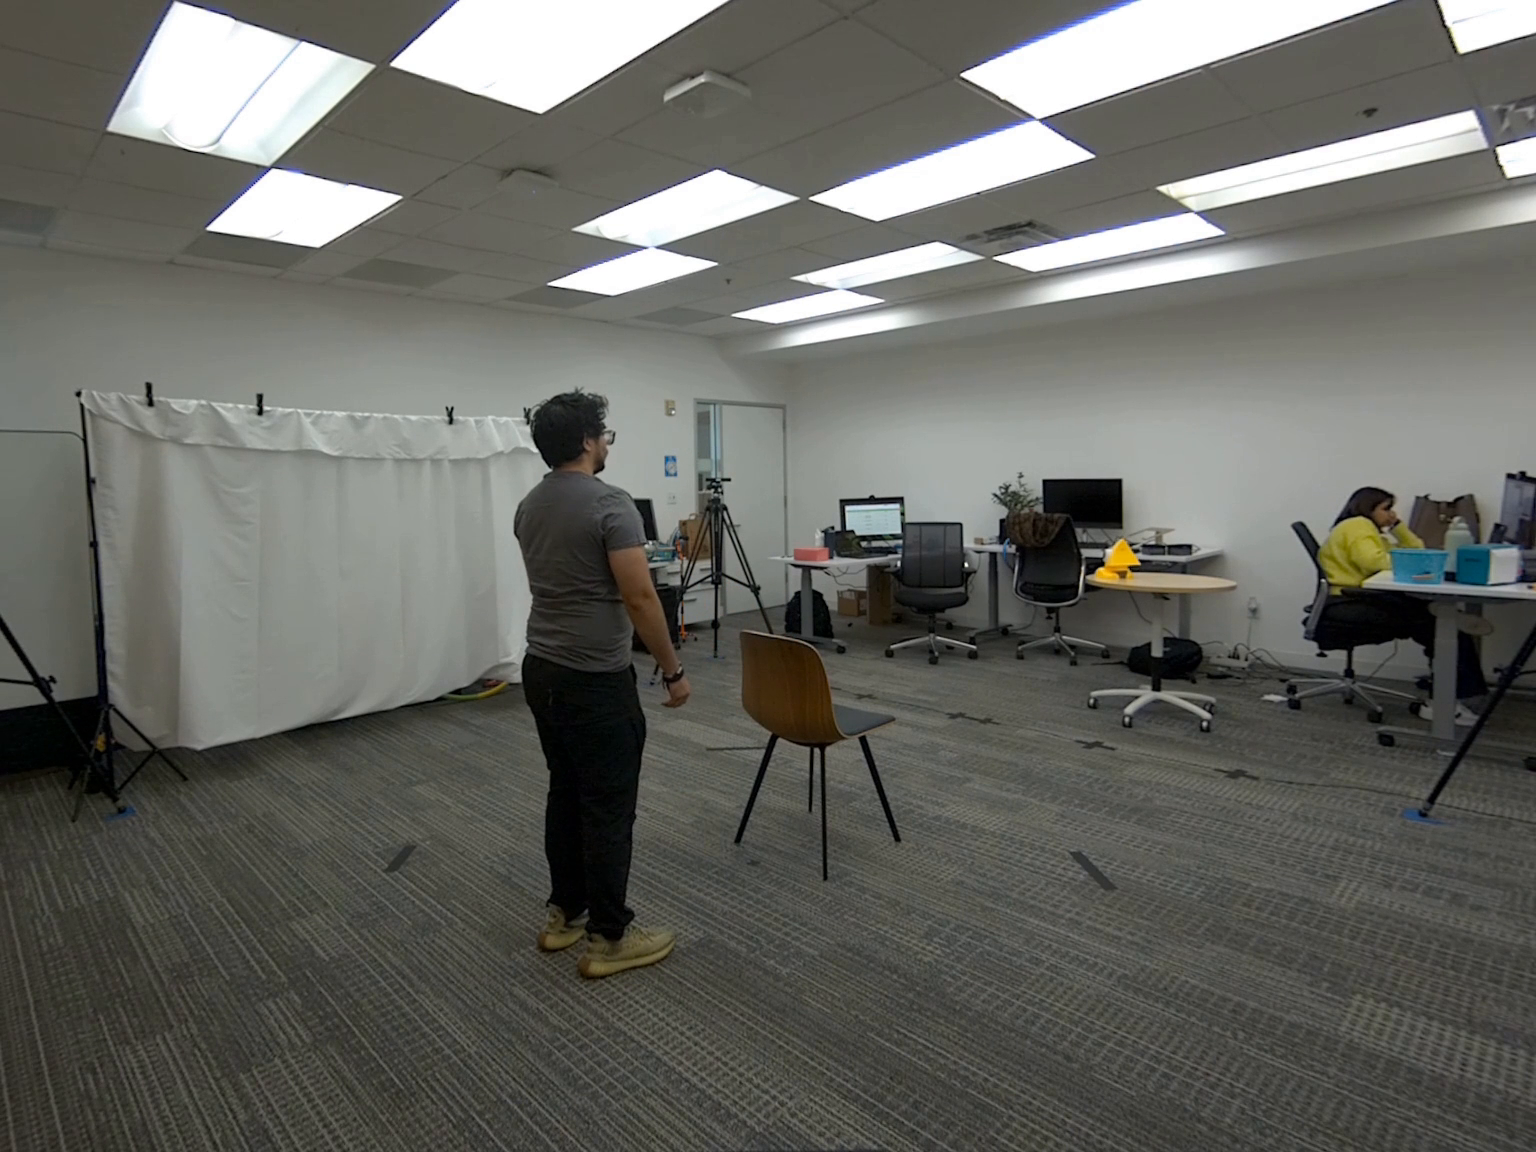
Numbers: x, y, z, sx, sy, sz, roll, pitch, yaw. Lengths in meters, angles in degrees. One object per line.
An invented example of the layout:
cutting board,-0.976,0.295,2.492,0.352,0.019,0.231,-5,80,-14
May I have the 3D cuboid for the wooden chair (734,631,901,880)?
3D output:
wooden chair,0.189,0.596,3.244,0.493,0.871,0.511,3,10,44
